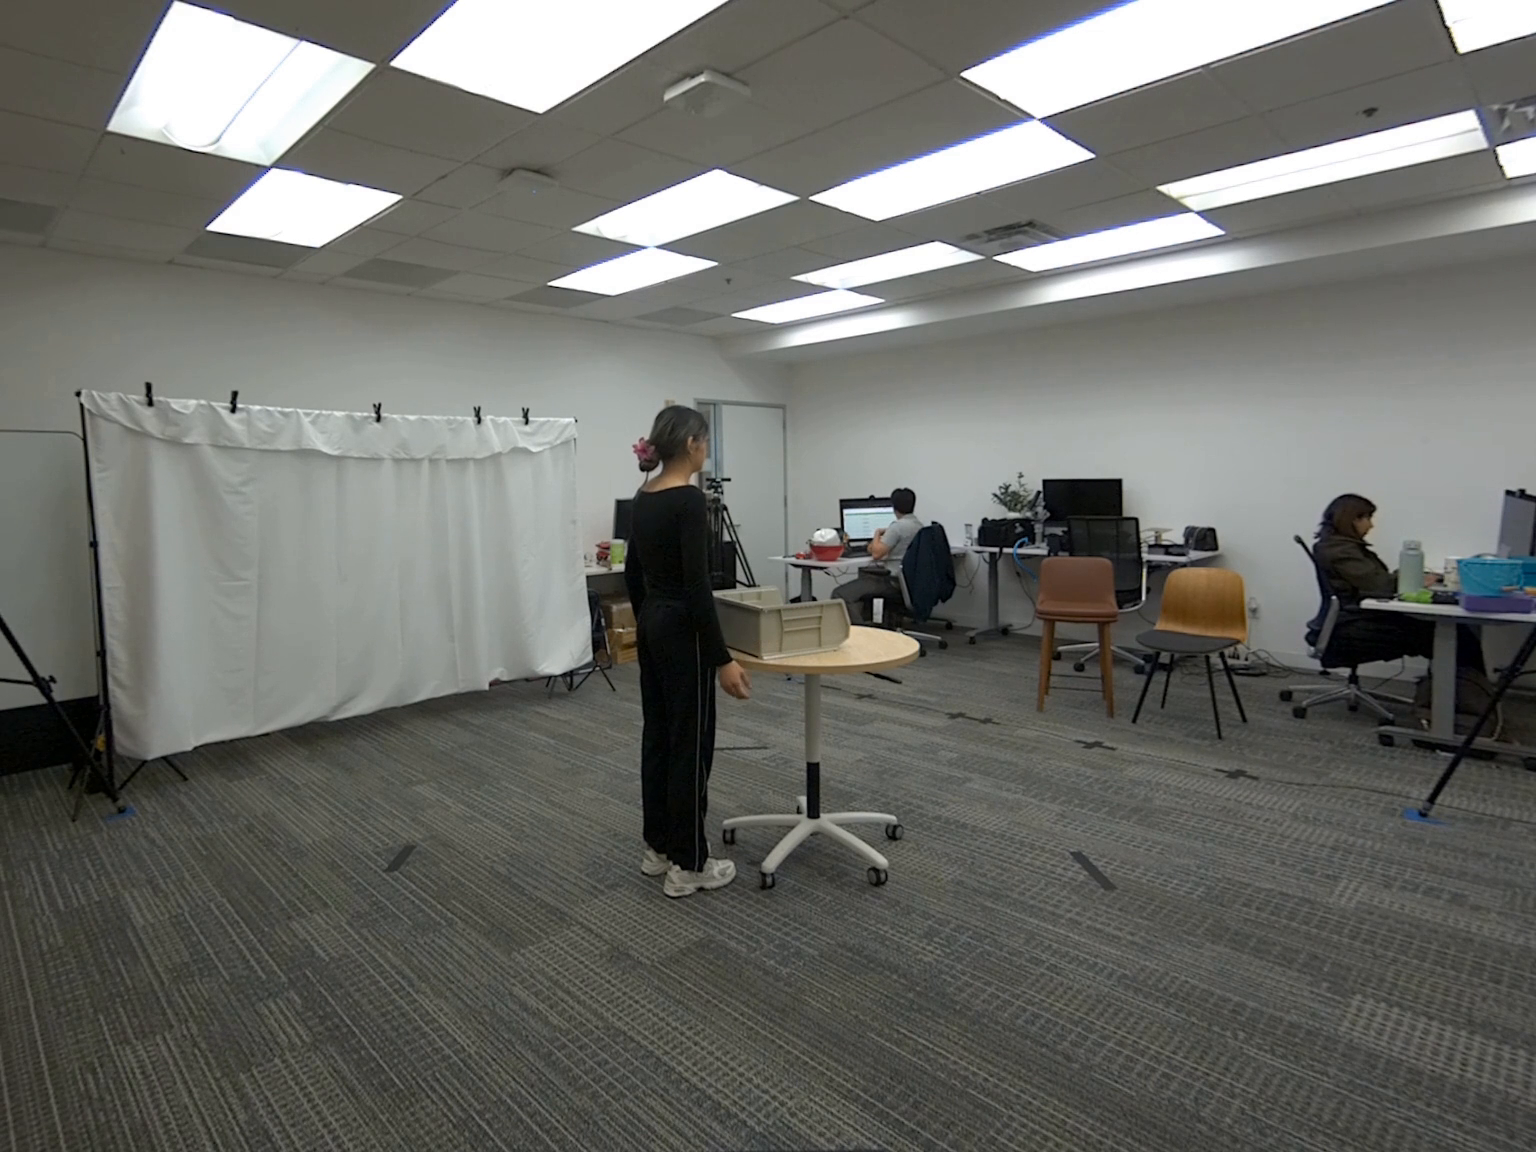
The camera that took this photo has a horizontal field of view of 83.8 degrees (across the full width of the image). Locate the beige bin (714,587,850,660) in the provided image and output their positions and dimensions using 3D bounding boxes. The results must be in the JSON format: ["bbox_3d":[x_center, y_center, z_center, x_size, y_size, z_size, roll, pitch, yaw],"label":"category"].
[{"bbox_3d":[0.022,0.158,3.085,0.368,0.188,0.435,-6,8,-32],"label":"beige bin"}]
